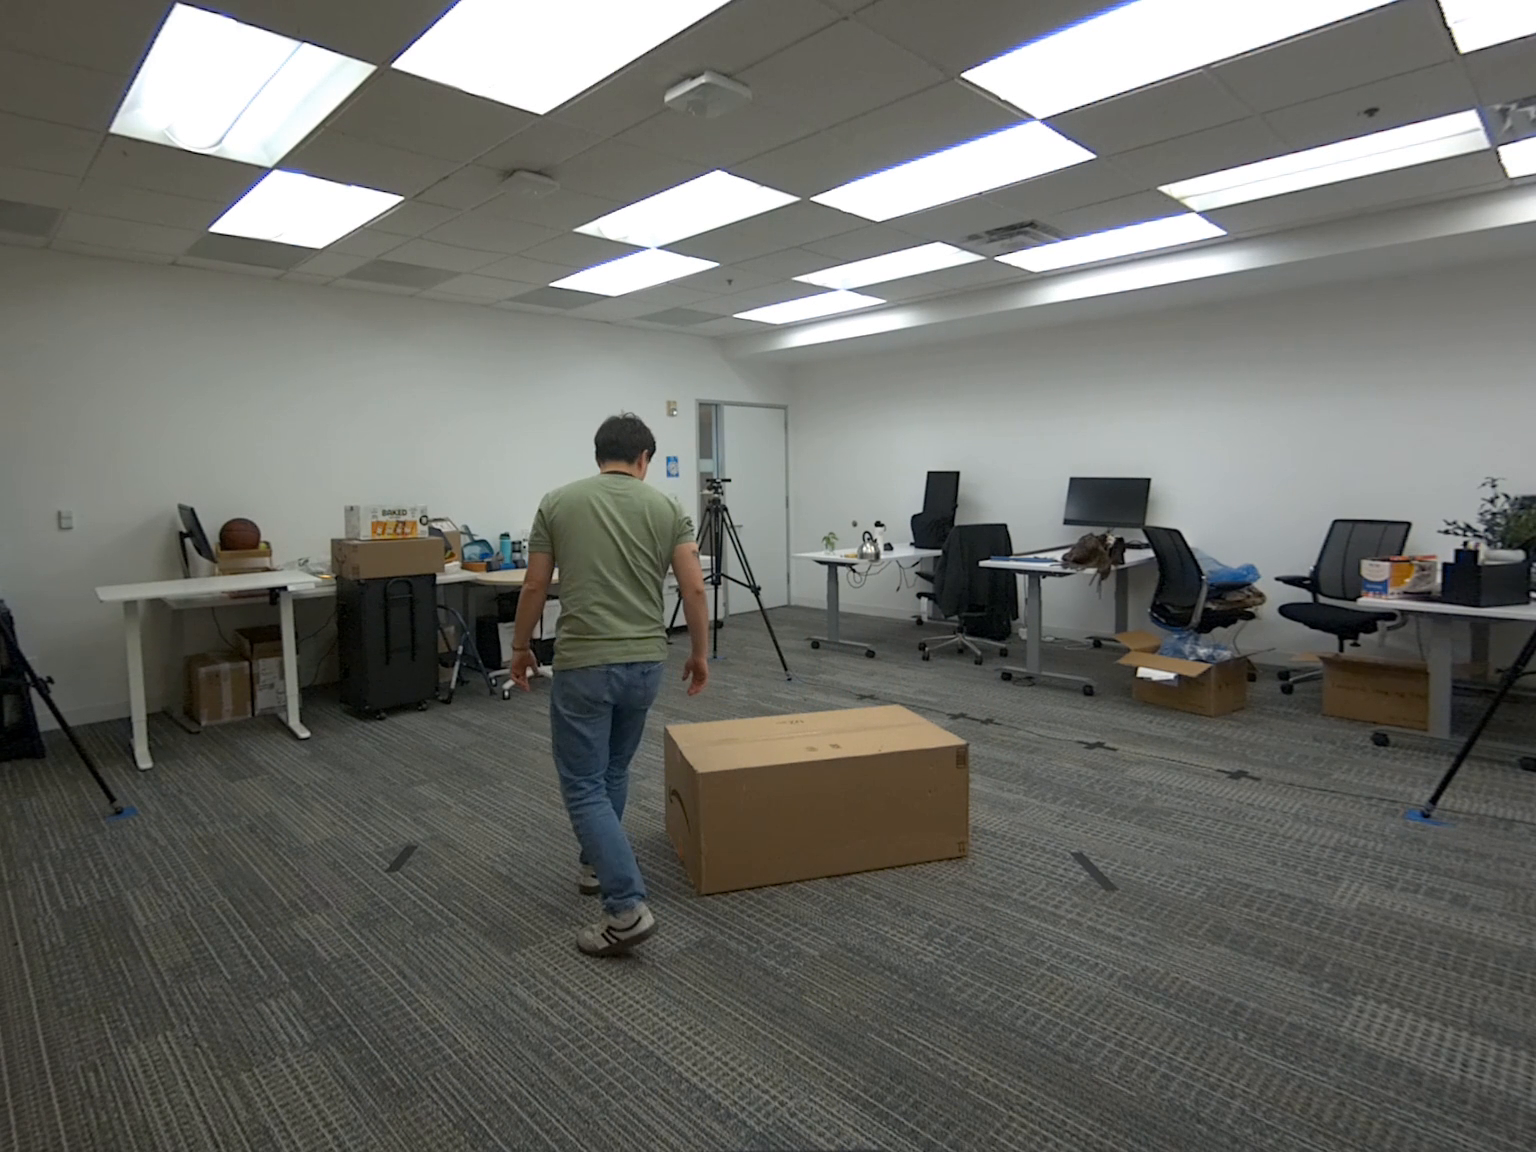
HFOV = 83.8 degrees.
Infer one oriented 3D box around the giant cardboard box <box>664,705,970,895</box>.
[{"bbox_3d":[0.162,0.810,3.254,1.011,0.424,0.588,-3,6,-16],"label":"giant cardboard box"}]
